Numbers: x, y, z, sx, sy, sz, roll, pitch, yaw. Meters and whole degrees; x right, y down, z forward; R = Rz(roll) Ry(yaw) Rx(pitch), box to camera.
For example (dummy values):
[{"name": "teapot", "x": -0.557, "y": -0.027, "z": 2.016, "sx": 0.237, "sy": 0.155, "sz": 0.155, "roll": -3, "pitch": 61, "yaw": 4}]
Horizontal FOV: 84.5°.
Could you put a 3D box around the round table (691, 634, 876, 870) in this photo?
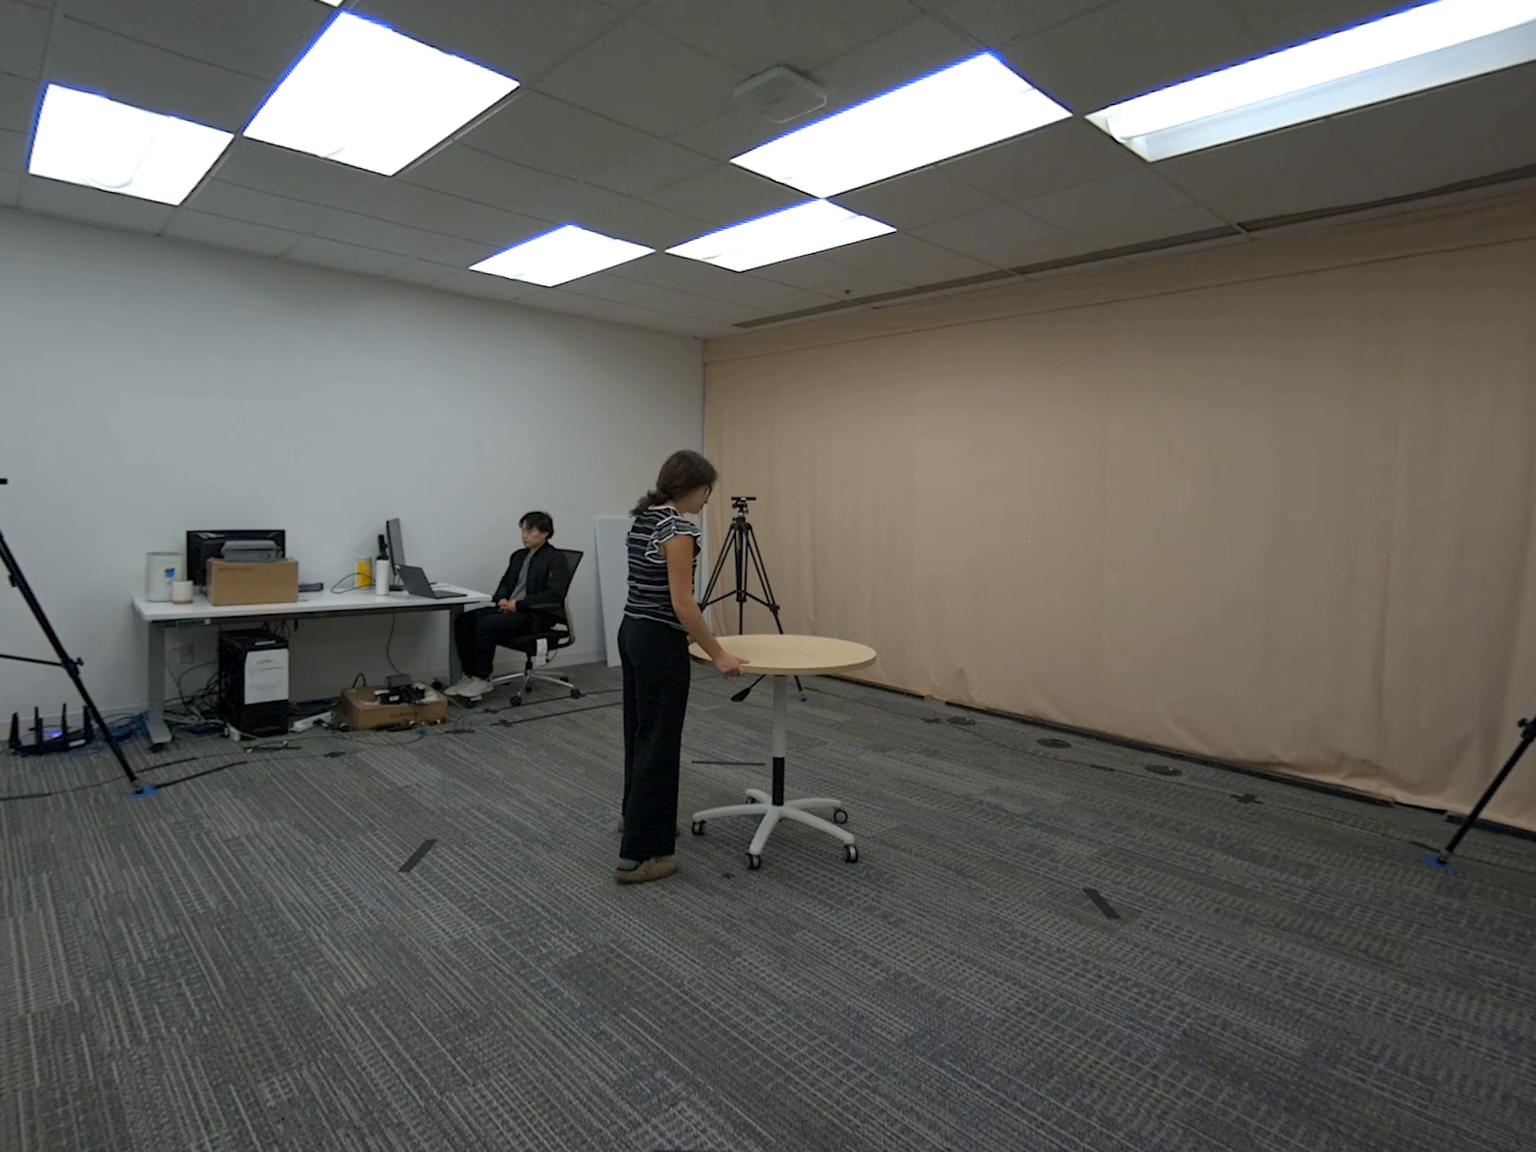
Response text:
[{"name": "round table", "x": 0.045, "y": 0.693, "z": 3.453, "sx": 0.763, "sy": 0.792, "sz": 0.766, "roll": 1, "pitch": 4, "yaw": -1}]
